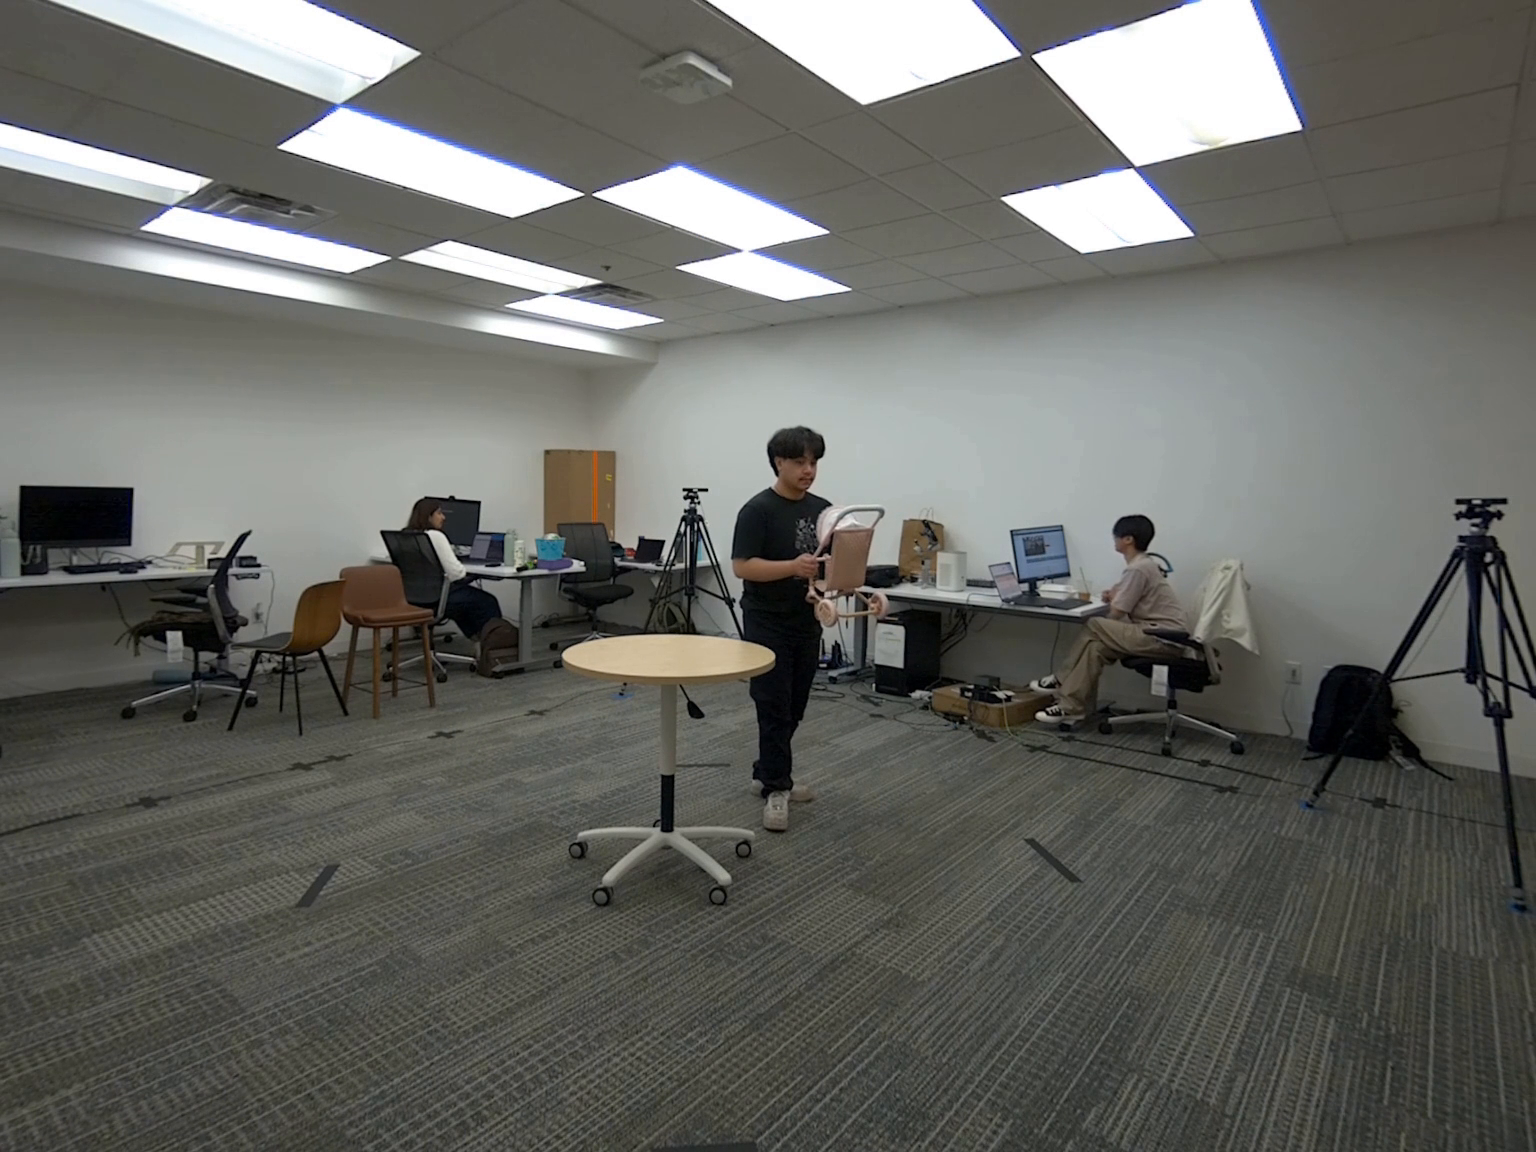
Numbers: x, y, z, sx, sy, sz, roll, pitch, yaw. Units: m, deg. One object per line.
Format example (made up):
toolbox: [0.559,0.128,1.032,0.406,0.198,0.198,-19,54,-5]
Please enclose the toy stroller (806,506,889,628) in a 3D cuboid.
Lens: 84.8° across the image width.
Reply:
toy stroller: [0.286,-0.047,3.416,0.276,0.529,0.352,-5,13,-23]
